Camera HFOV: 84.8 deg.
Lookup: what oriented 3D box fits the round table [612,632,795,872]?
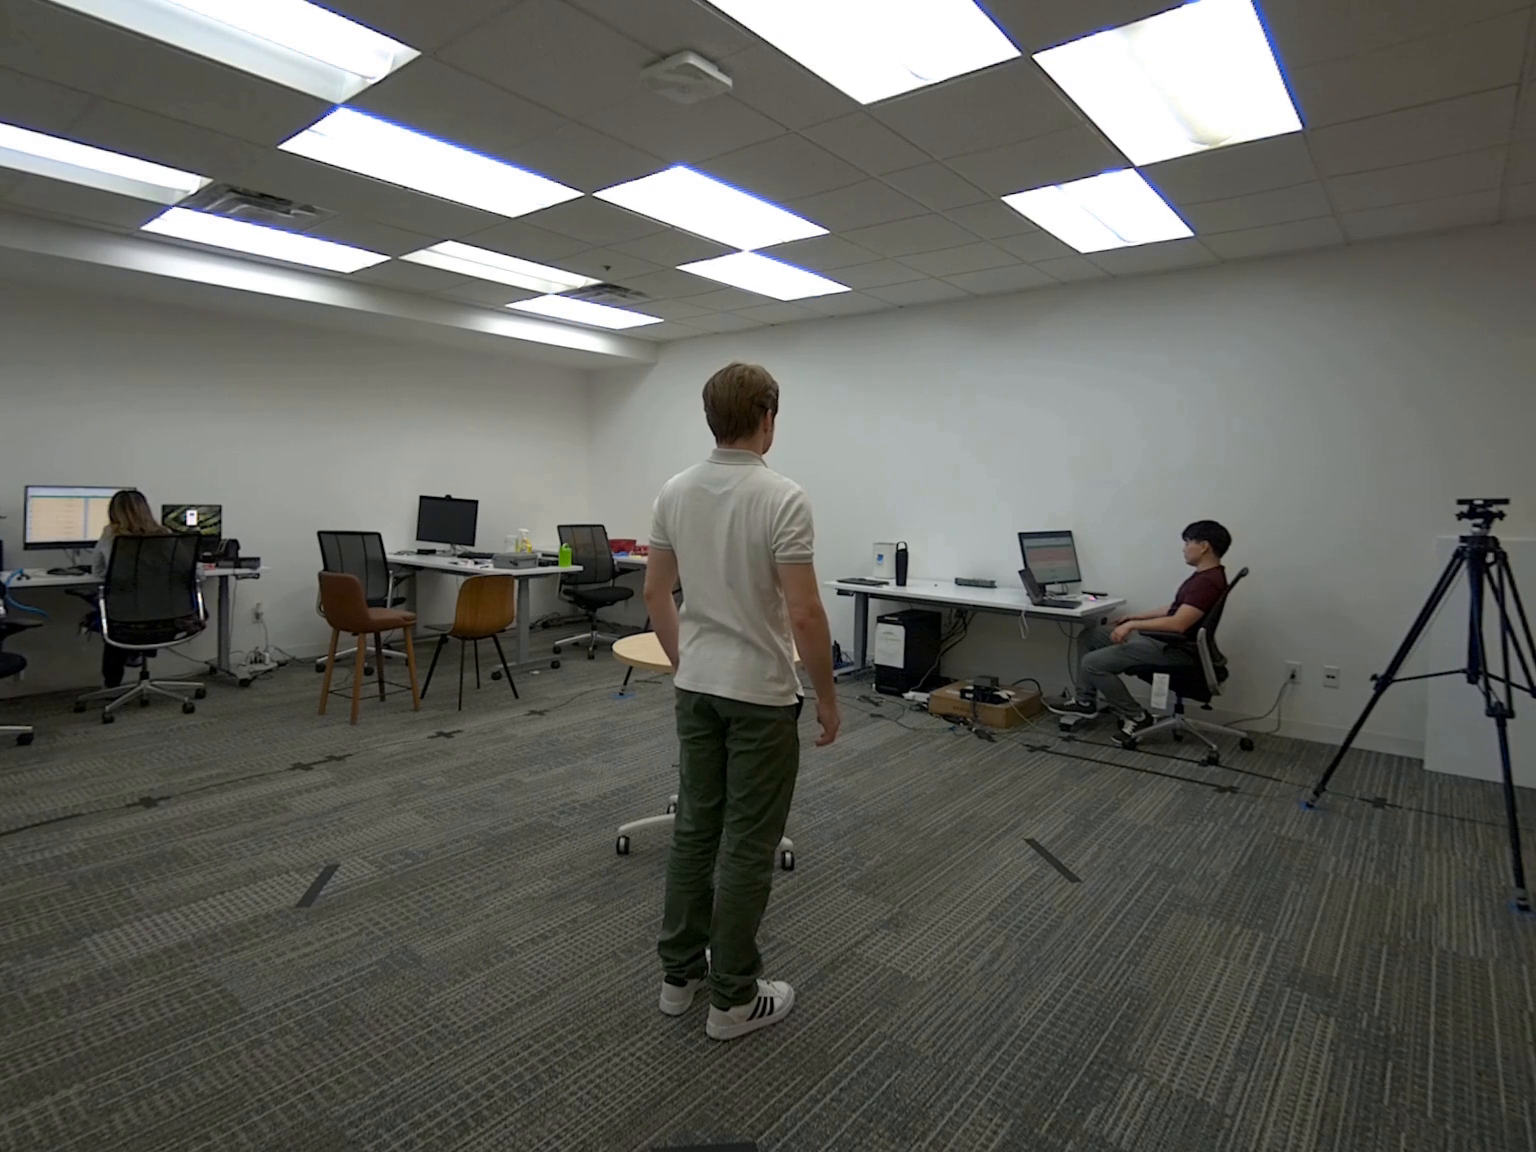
[{"bbox_3d":[-0.234,0.662,3.284,0.763,0.791,0.768,1,4,-2],"label":"round table"}]
